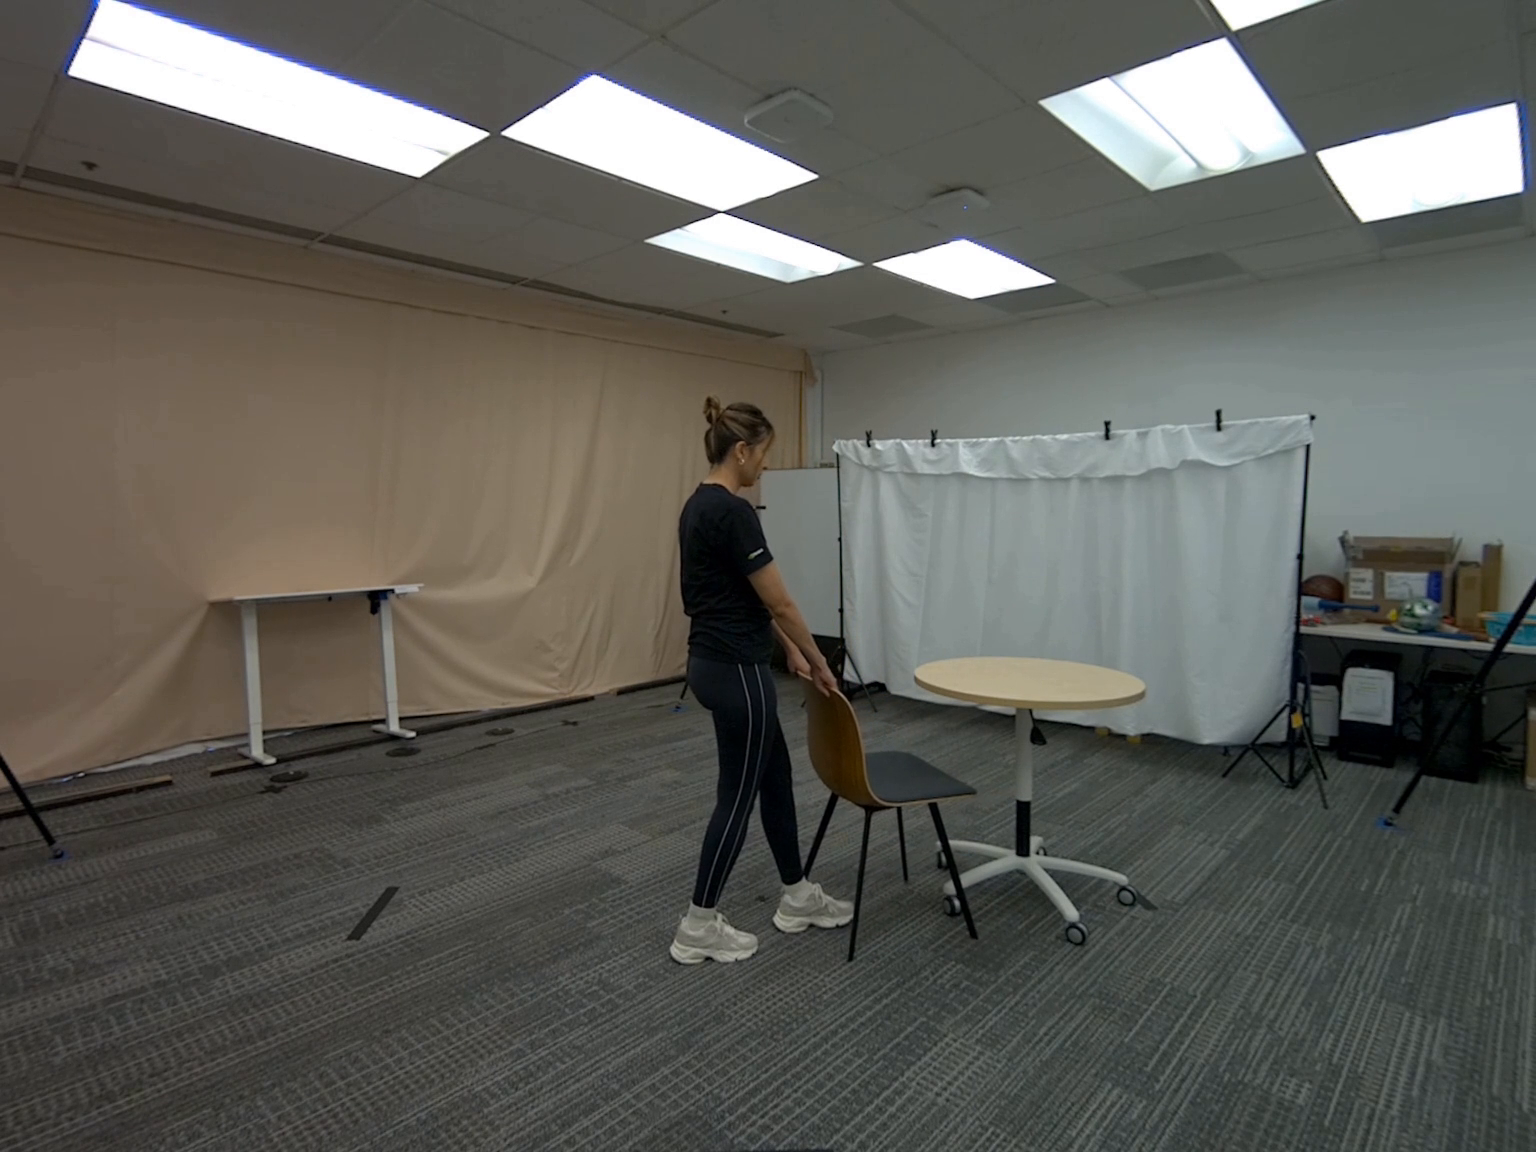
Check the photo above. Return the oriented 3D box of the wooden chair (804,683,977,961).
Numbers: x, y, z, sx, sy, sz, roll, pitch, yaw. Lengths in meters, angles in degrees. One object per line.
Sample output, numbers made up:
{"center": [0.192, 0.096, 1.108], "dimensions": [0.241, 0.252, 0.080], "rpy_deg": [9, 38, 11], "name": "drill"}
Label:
{"center": [0.389, 0.728, 2.818], "dimensions": [0.514, 0.874, 0.488], "rpy_deg": [-6, 5, -18], "name": "wooden chair"}
